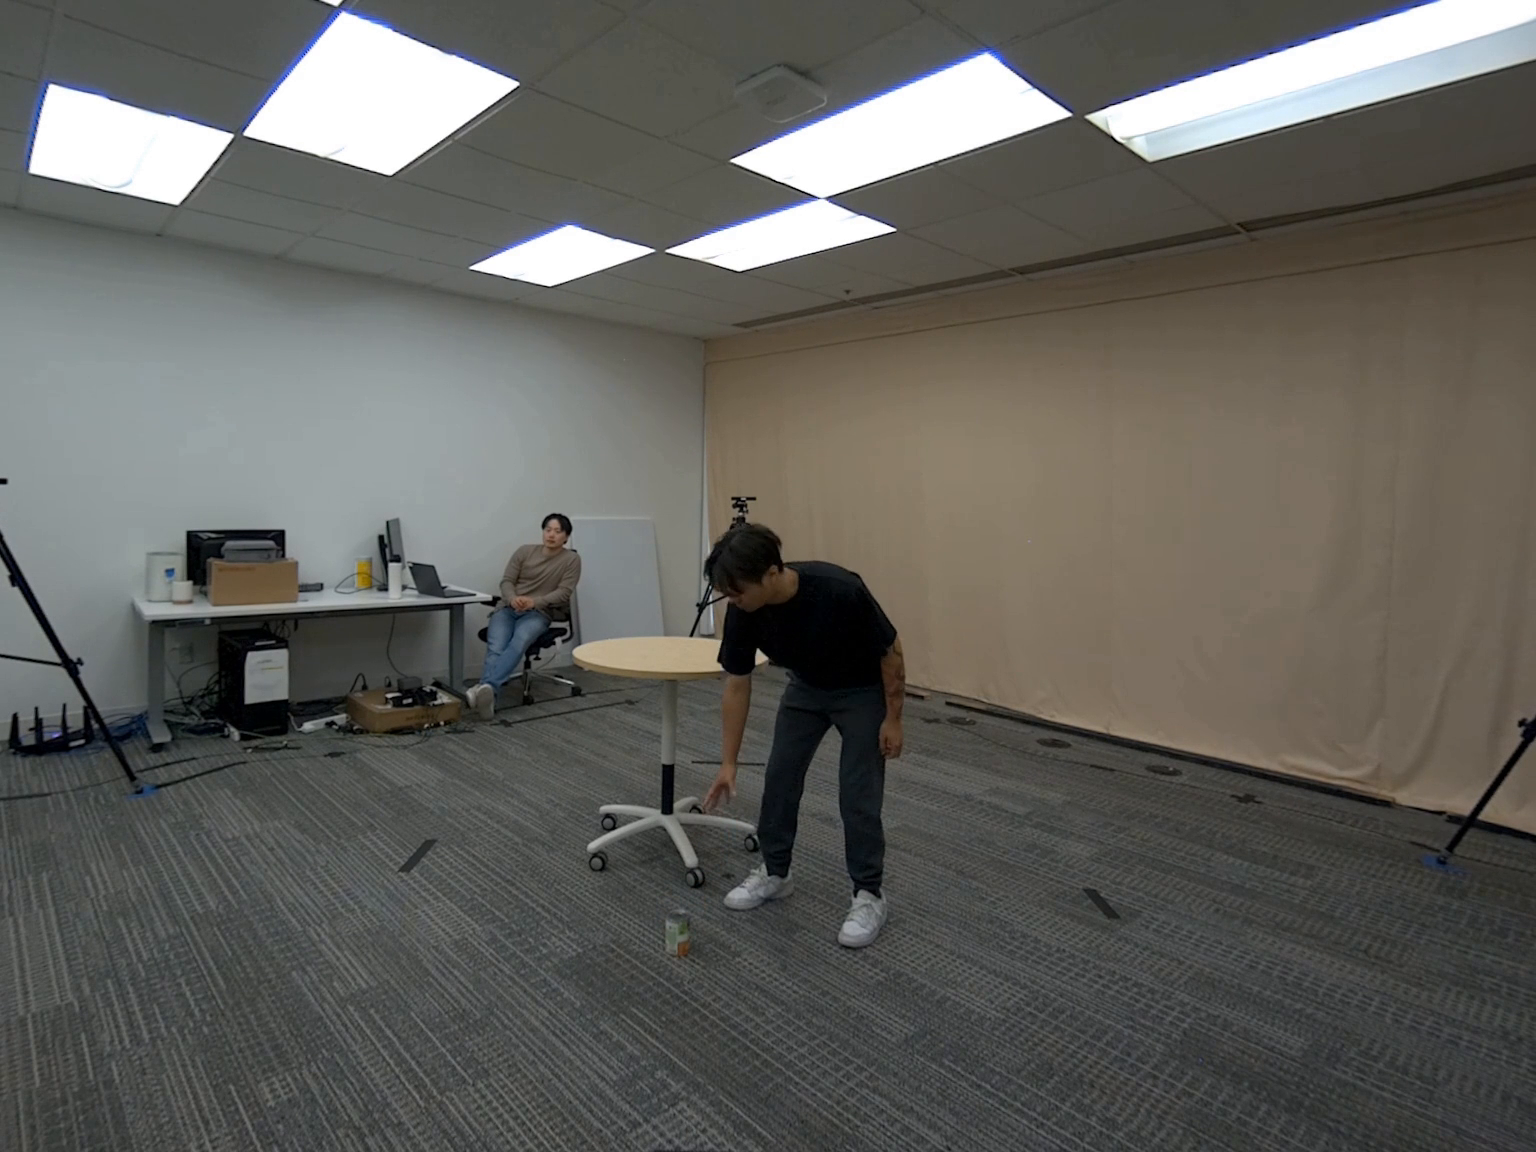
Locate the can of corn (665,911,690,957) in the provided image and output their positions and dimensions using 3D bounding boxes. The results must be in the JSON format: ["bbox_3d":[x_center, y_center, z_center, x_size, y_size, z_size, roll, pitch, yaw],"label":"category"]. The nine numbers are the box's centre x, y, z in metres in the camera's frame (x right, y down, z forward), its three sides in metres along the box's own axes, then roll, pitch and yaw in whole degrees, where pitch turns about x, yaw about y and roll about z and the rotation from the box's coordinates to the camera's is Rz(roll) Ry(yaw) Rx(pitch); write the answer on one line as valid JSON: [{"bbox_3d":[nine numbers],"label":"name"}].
[{"bbox_3d":[-0.281,1.101,2.574,0.074,0.111,0.074,2,3,-1],"label":"can of corn"}]
